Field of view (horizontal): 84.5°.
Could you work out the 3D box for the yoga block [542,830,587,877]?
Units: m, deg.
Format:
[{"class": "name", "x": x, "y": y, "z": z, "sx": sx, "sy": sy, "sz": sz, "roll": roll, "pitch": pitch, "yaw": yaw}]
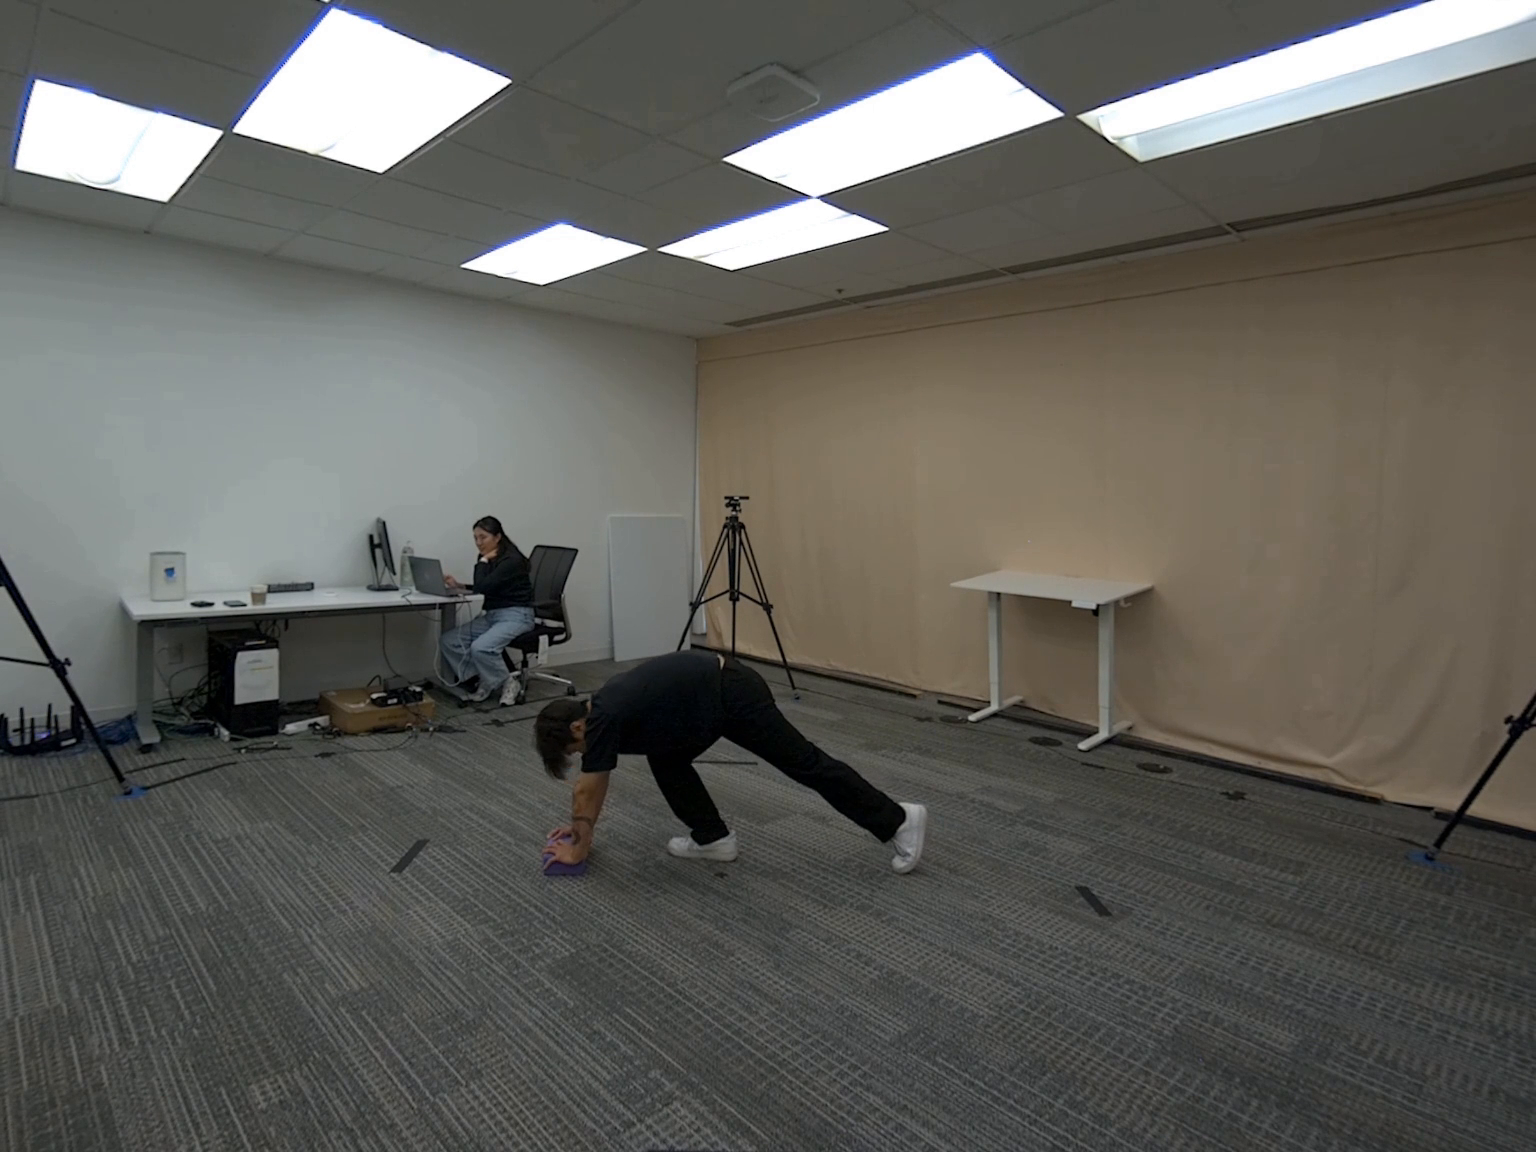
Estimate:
[{"class": "yoga block", "x": -0.766, "y": 1.048, "z": 3.177, "sx": 0.148, "sy": 0.076, "sz": 0.231, "roll": 2, "pitch": 6, "yaw": -6}]
